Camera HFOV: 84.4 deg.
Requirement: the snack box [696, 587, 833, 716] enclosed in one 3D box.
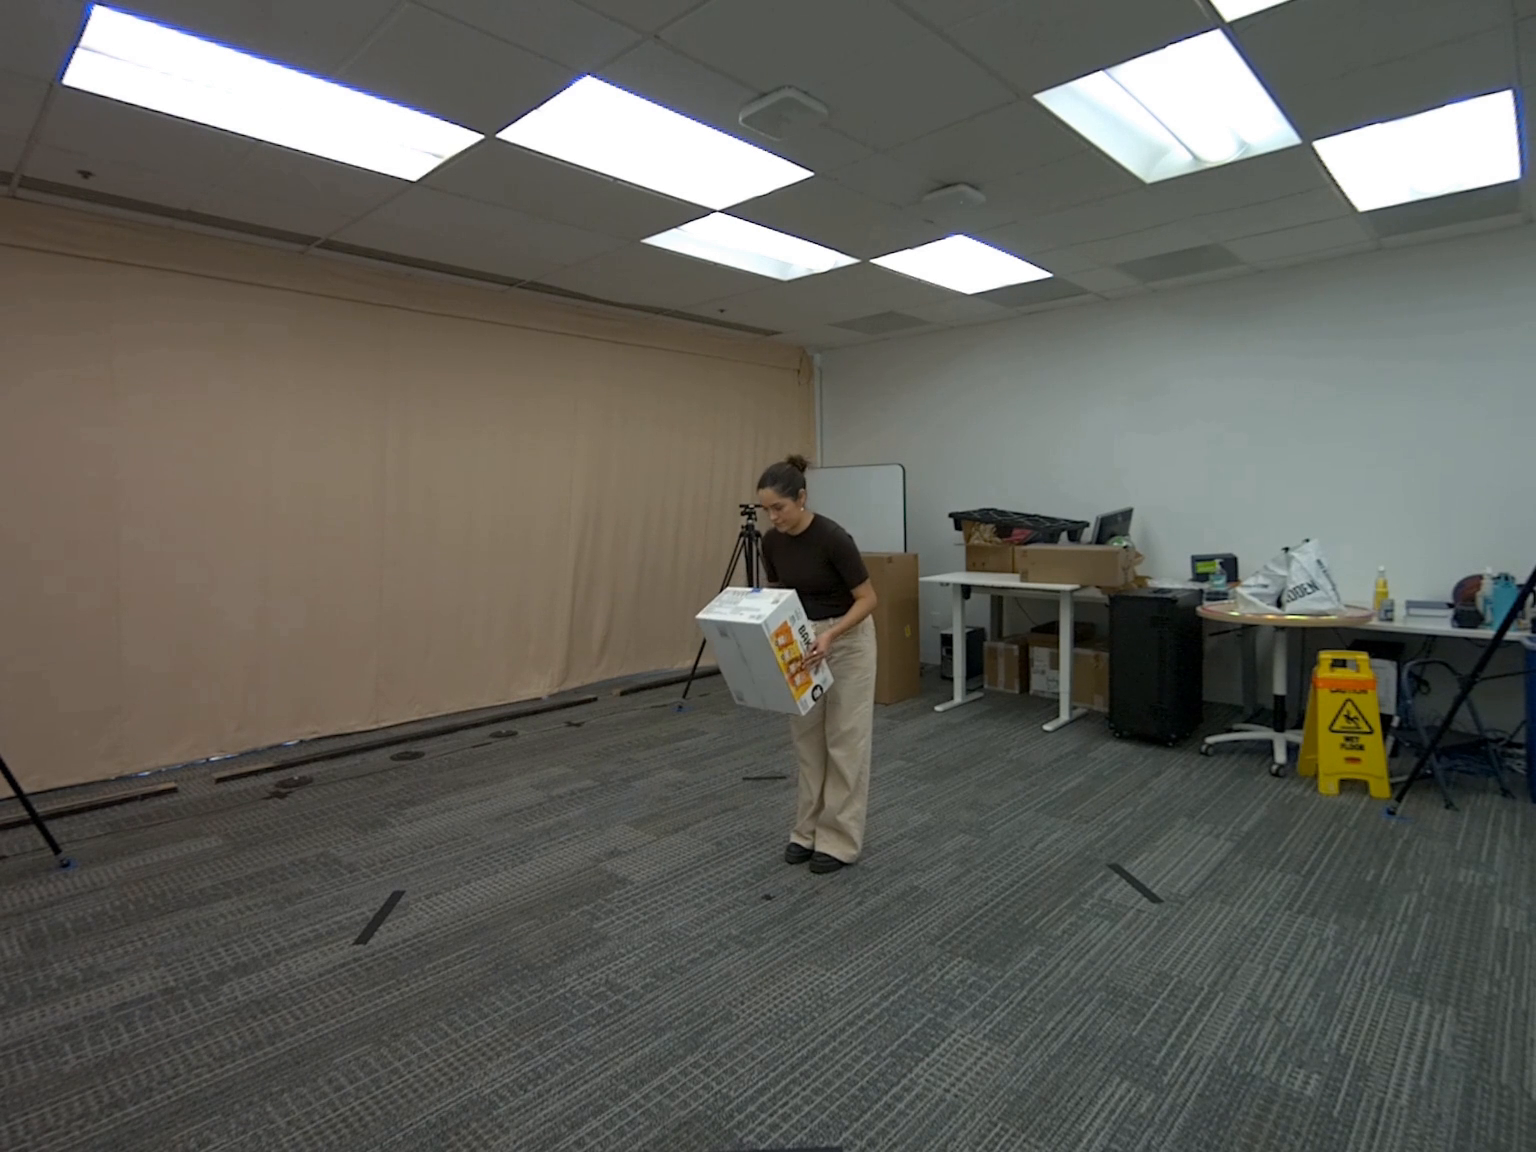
[{"bbox_3d":[-0.009,0.277,3.056,0.351,0.397,0.203,0,32,45],"label":"snack box"}]
